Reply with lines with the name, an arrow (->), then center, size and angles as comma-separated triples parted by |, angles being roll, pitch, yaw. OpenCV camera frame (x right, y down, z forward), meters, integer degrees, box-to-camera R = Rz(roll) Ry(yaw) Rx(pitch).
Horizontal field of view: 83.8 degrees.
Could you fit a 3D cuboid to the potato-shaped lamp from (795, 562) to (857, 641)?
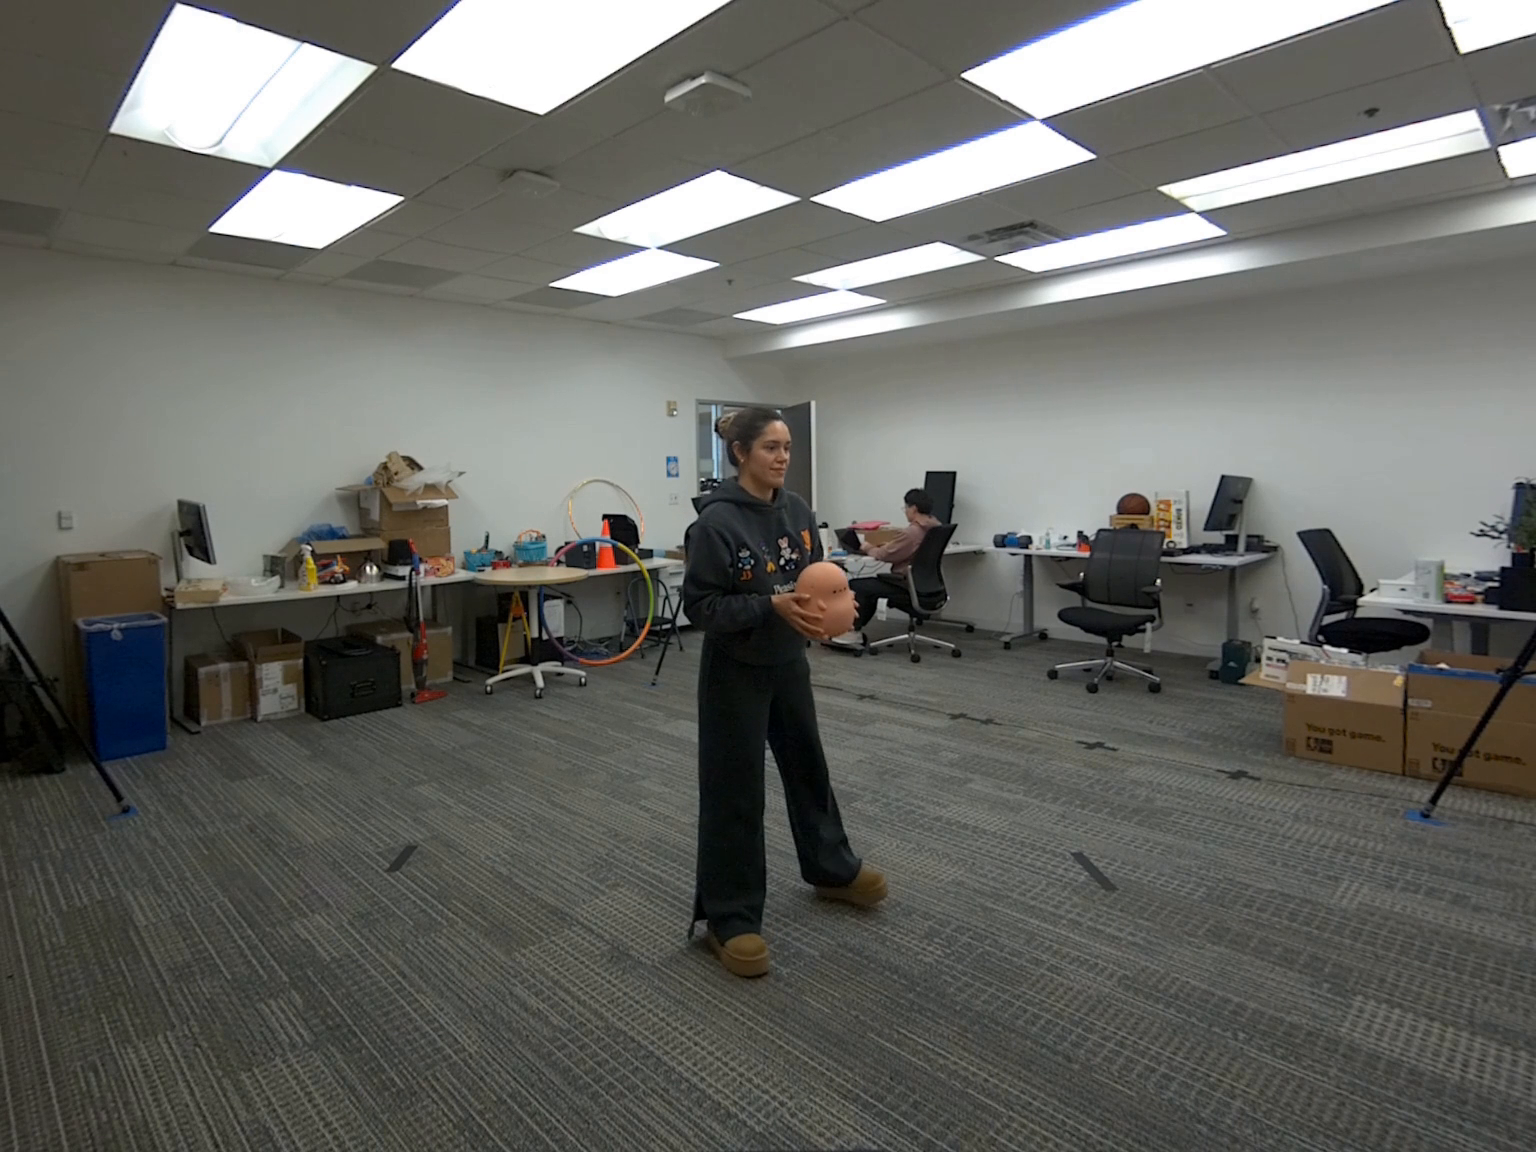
potato-shaped lamp -> 0.152, 0.059, 2.365 | 0.161, 0.194, 0.178 | -15, 27, -35
